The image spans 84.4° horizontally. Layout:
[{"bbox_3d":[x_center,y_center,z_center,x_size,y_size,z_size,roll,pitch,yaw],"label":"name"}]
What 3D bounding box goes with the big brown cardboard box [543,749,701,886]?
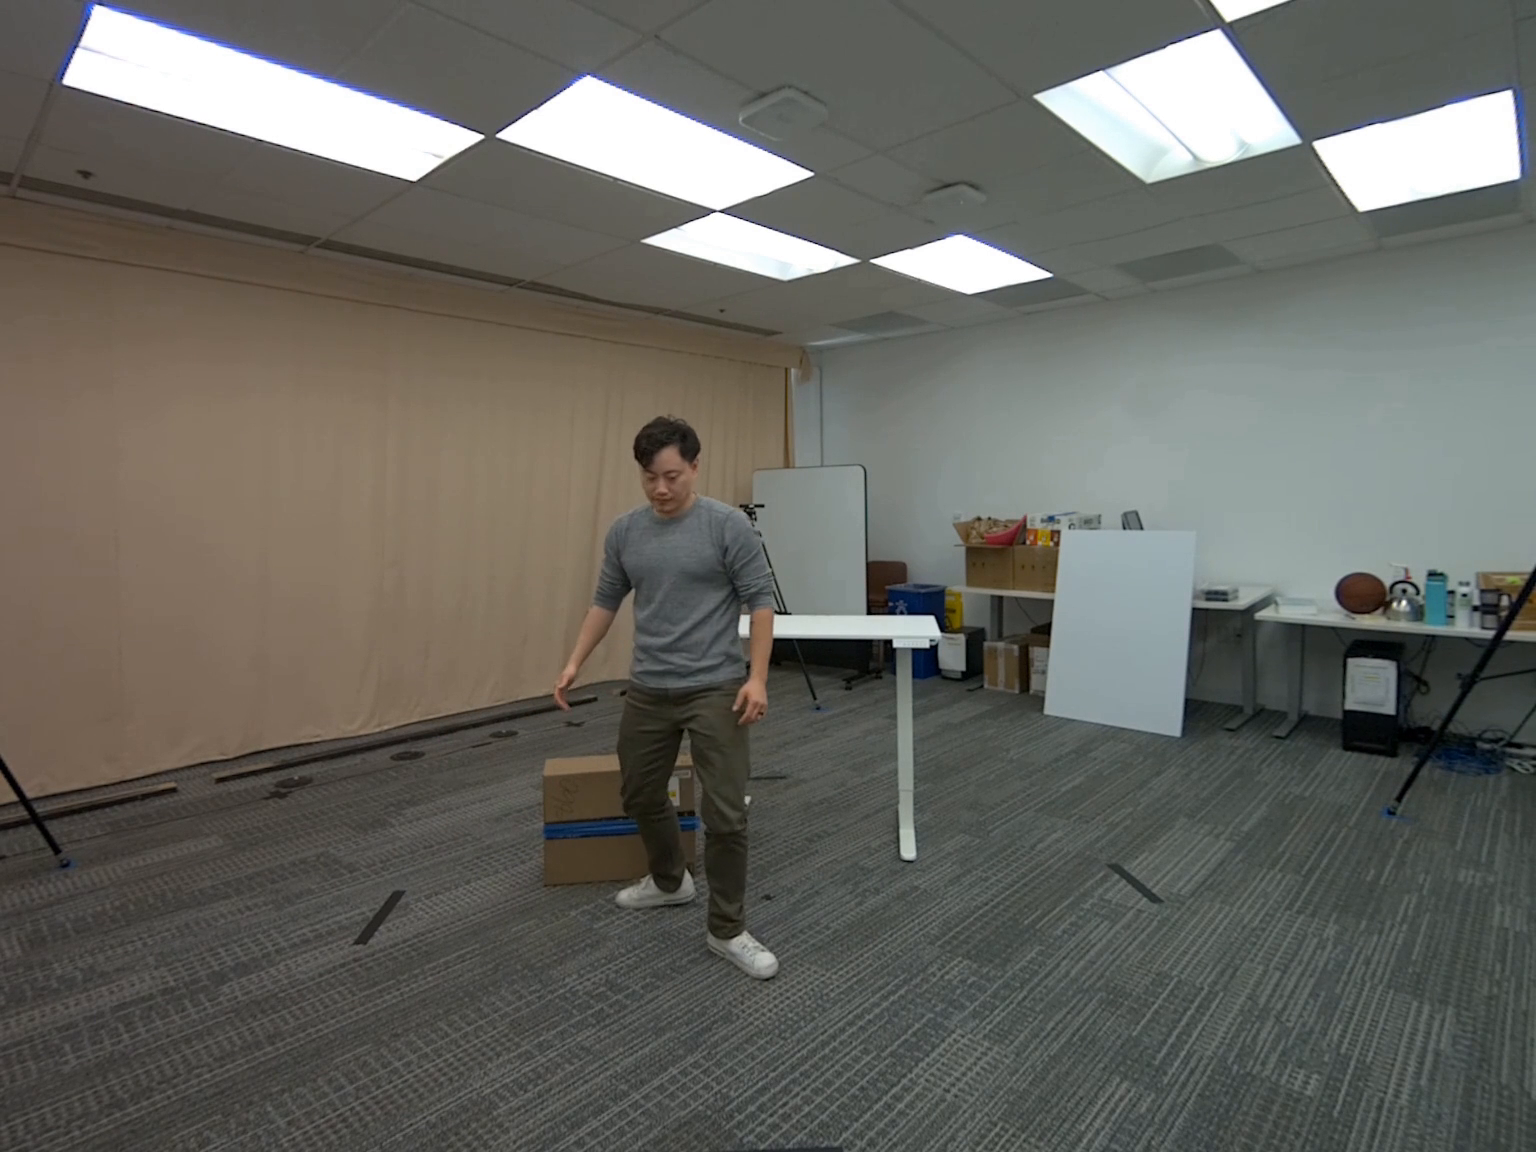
[{"bbox_3d":[-0.568,0.922,3.239,0.585,0.417,0.235,-2,2,-7],"label":"big brown cardboard box"}]
